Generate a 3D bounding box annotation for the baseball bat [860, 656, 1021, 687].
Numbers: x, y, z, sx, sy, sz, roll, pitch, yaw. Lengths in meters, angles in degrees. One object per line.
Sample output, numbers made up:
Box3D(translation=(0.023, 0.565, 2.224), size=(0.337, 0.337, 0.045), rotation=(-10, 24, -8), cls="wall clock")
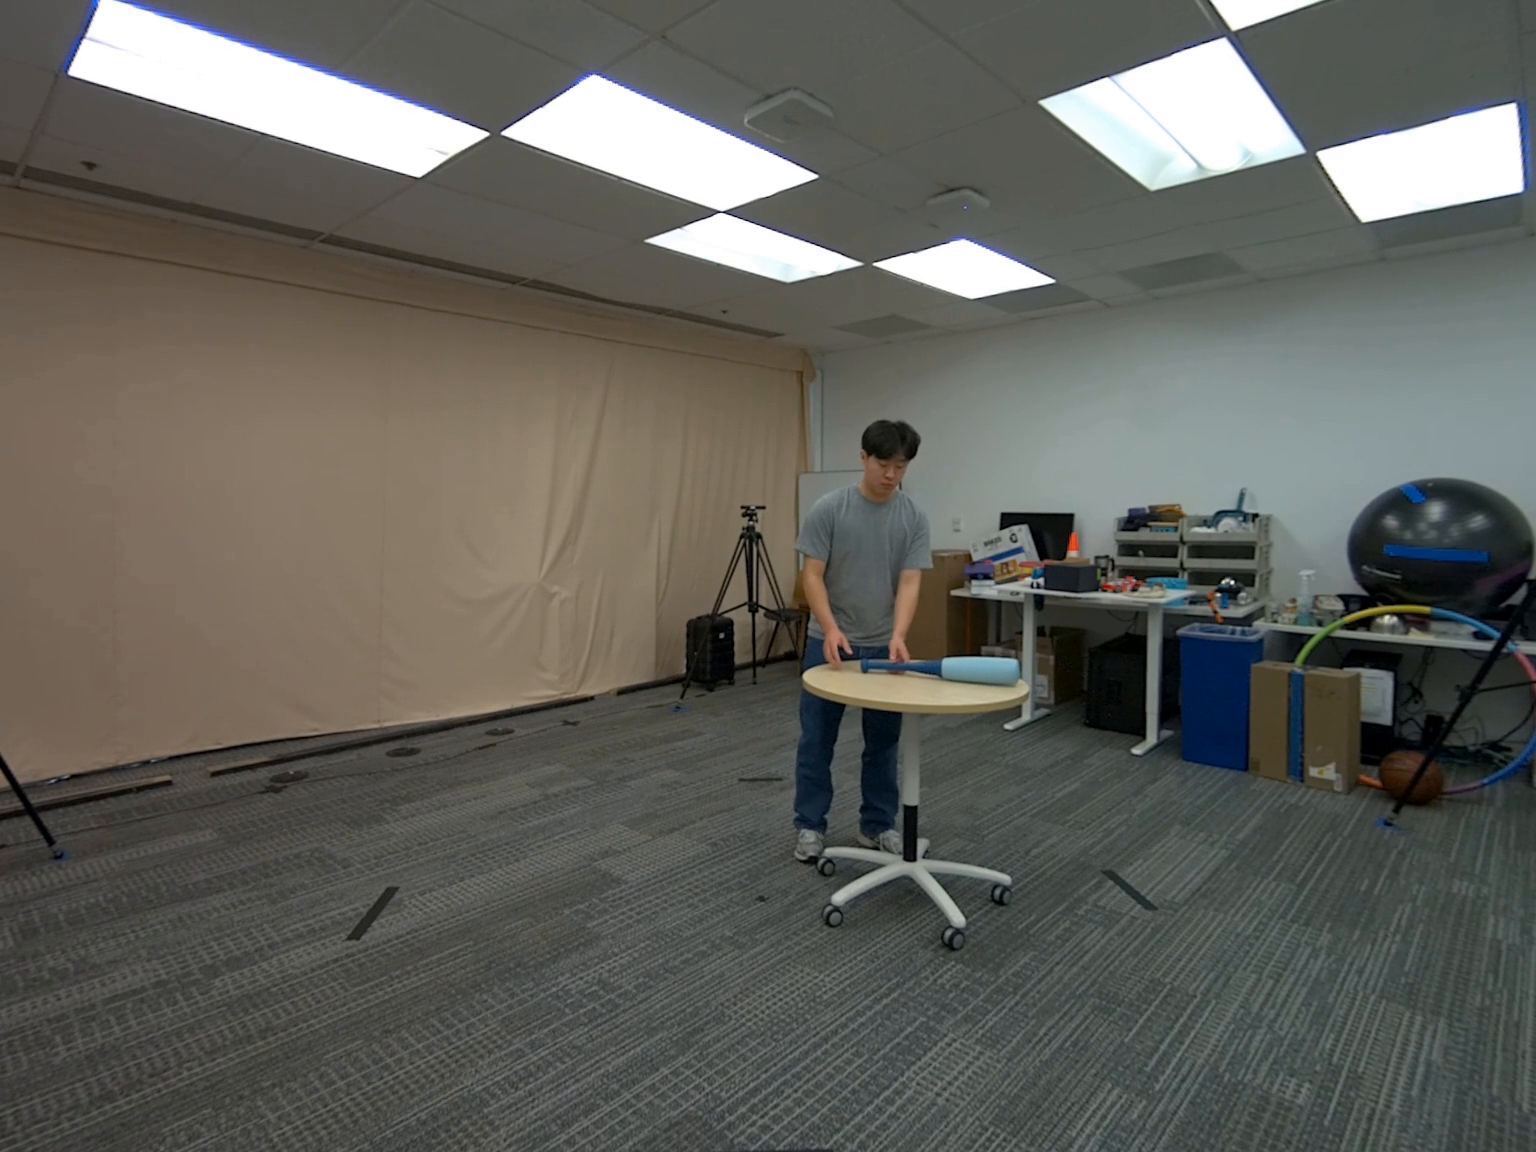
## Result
Box3D(translation=(0.599, 0.327, 2.945), size=(0.556, 0.089, 0.087), rotation=(-1, 3, 24), cls="baseball bat")
